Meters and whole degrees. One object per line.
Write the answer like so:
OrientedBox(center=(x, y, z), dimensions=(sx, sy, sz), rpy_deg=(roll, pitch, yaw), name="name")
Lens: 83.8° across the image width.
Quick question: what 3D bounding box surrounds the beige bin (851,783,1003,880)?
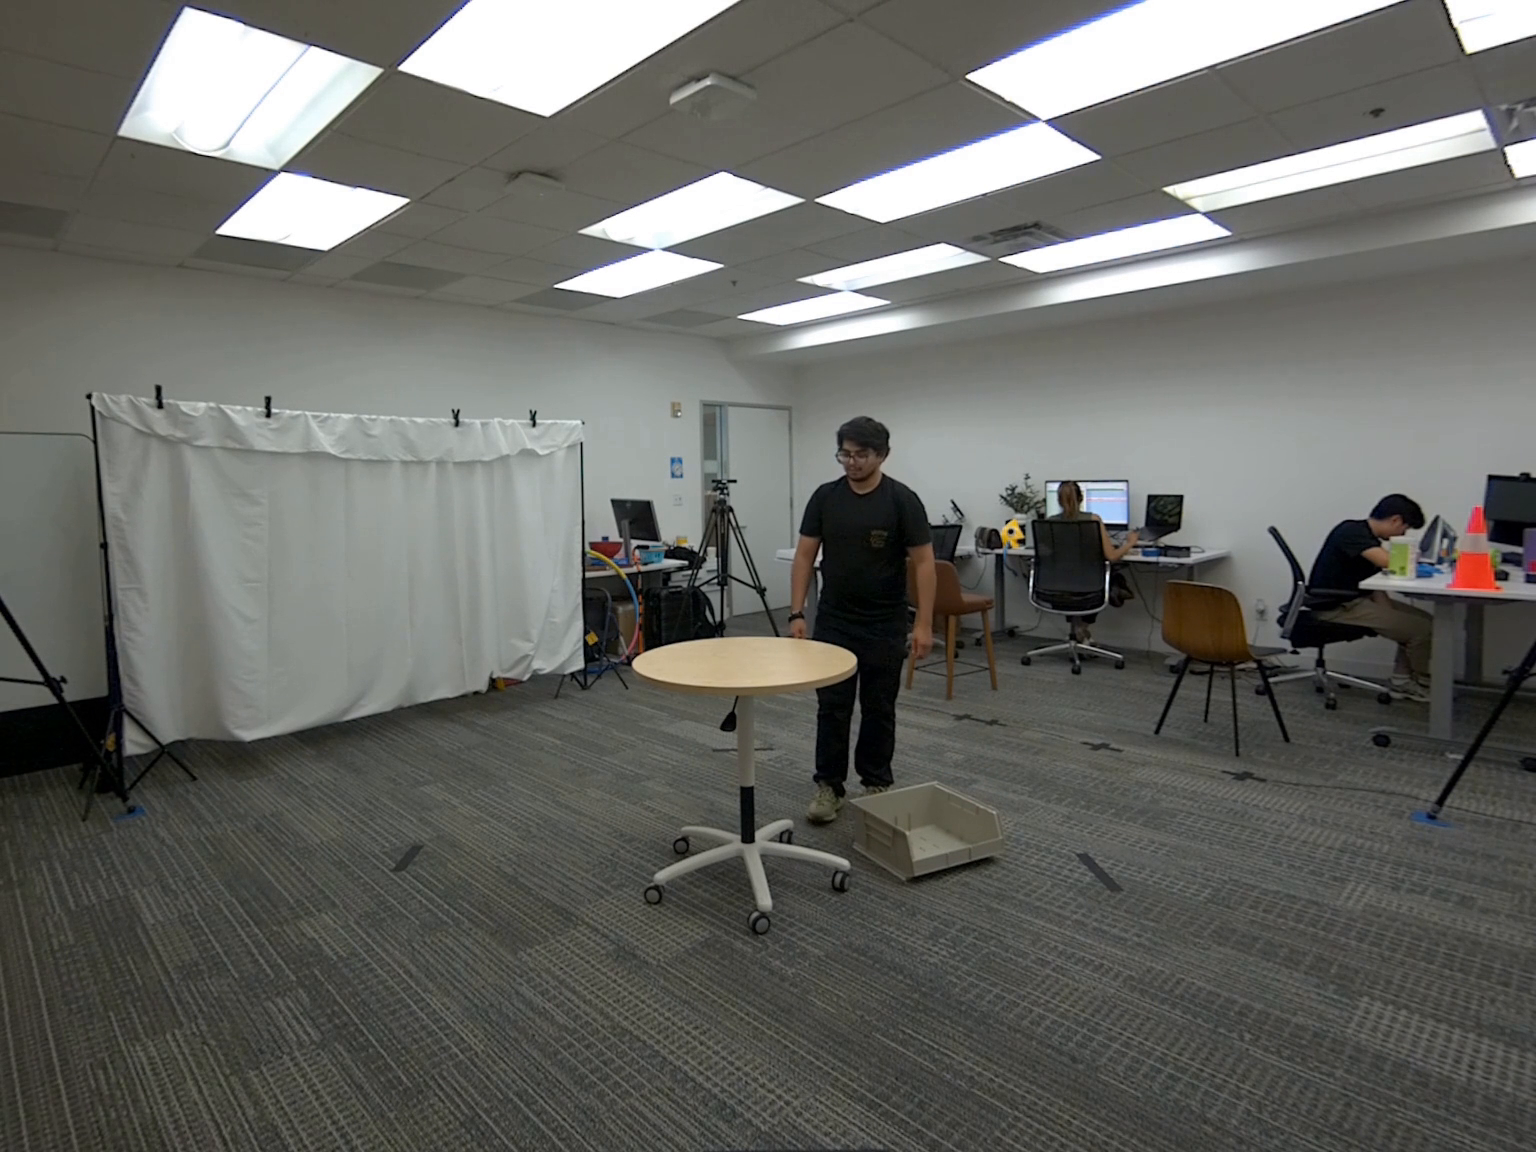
OrientedBox(center=(0.588, 0.946, 3.162), dimensions=(0.413, 0.188, 0.387), rpy_deg=(-5, 6, -28), name="beige bin")
